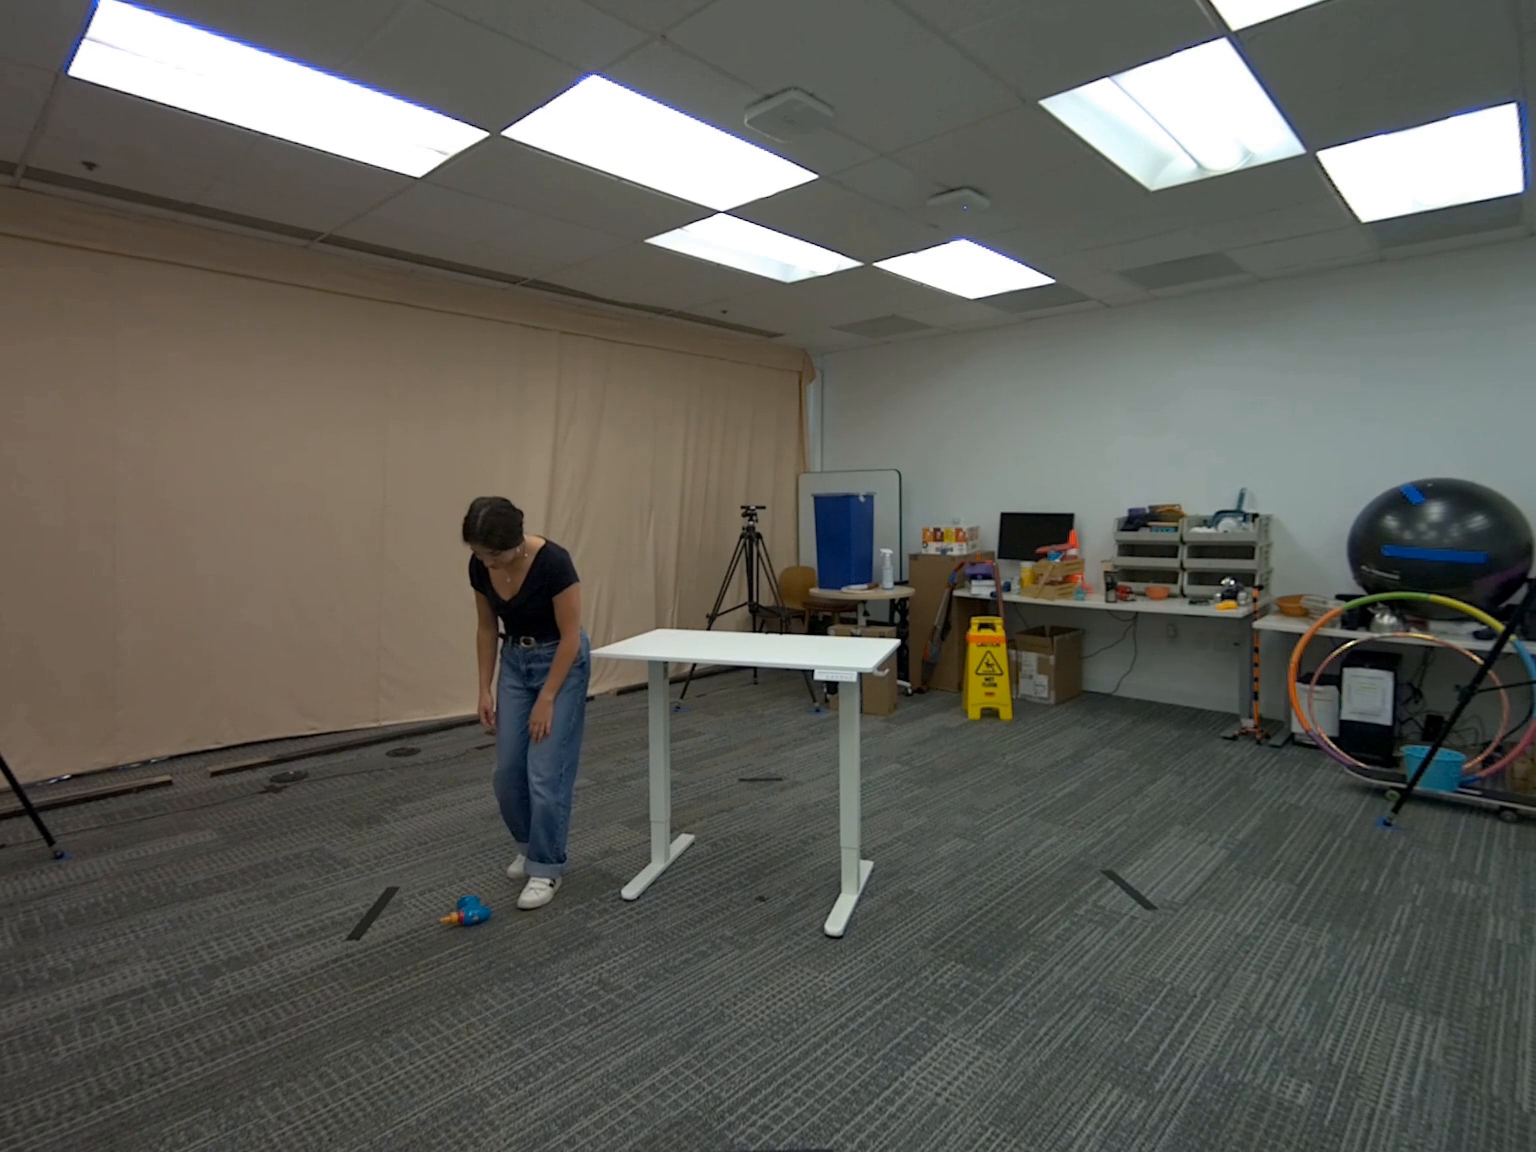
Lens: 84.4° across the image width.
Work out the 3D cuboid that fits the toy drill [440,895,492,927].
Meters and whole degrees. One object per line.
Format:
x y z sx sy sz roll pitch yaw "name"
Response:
-1.029 1.130 2.848 0.165 0.061 0.151 0 4 -35 "toy drill"
